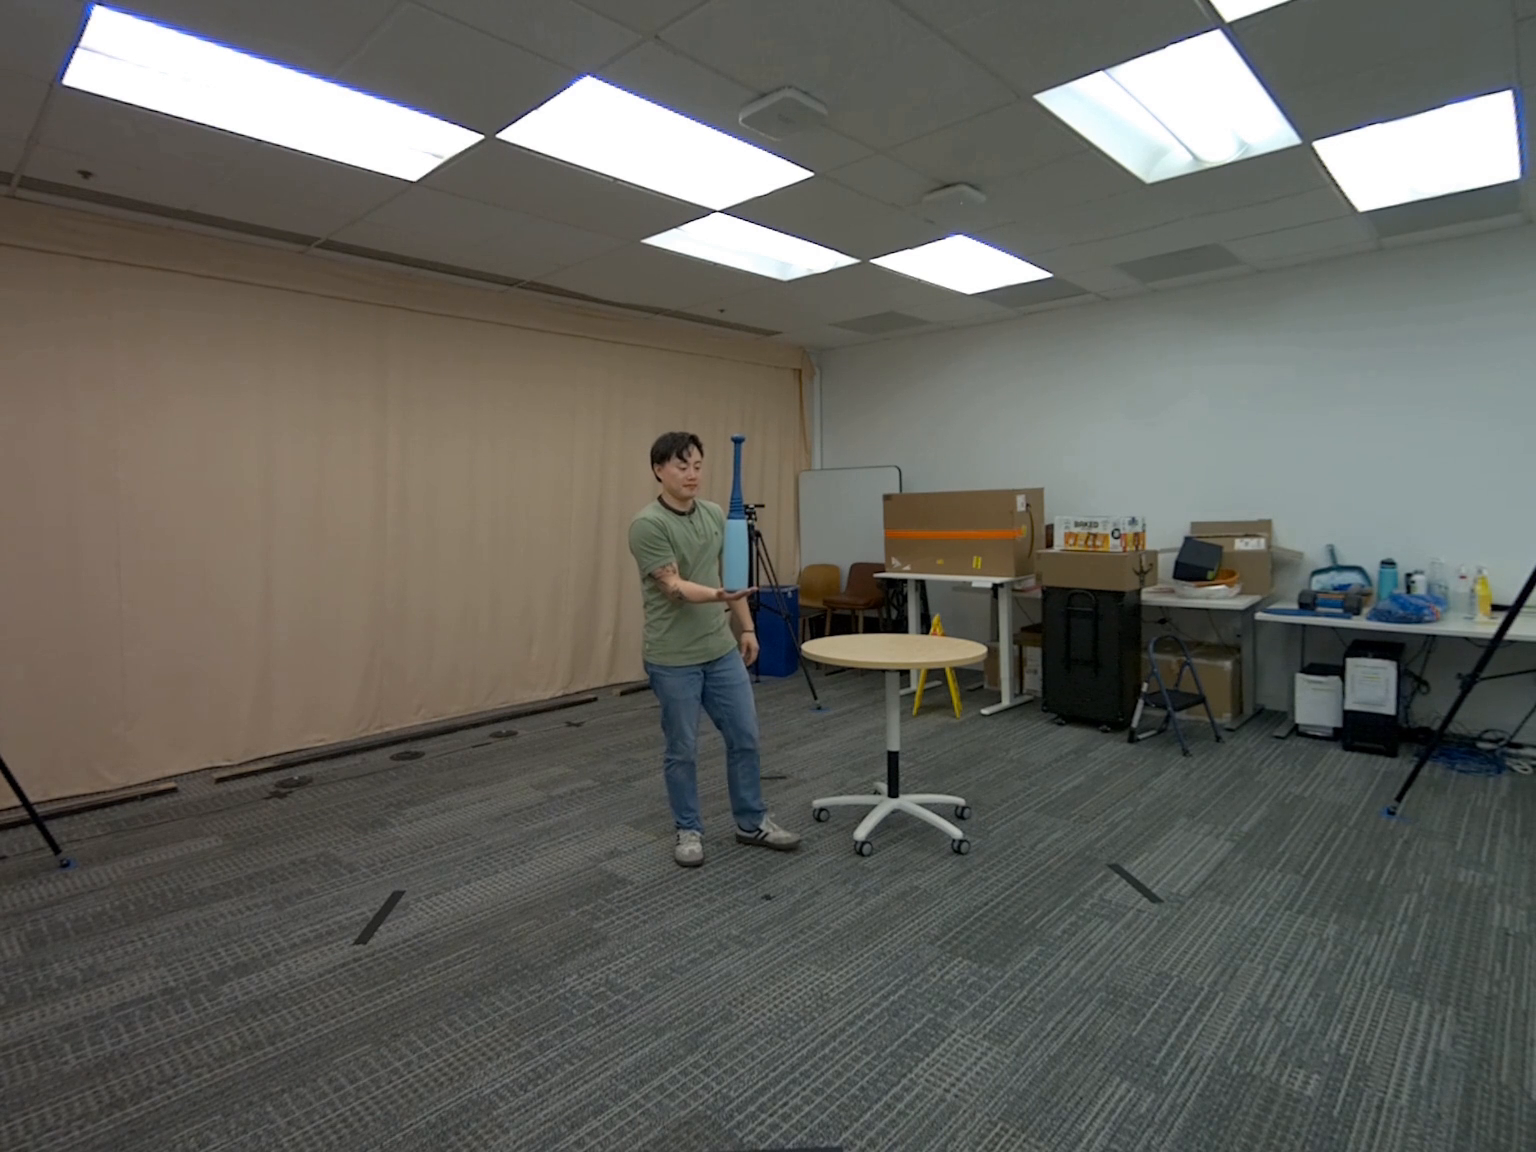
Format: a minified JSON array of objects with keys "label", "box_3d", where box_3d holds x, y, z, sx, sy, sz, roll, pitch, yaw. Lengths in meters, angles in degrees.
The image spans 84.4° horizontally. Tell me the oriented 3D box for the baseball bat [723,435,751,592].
[{"label":"baseball bat","box_3d":[-0.097,-0.219,2.912,0.089,0.543,0.089,2,1,-2]}]
